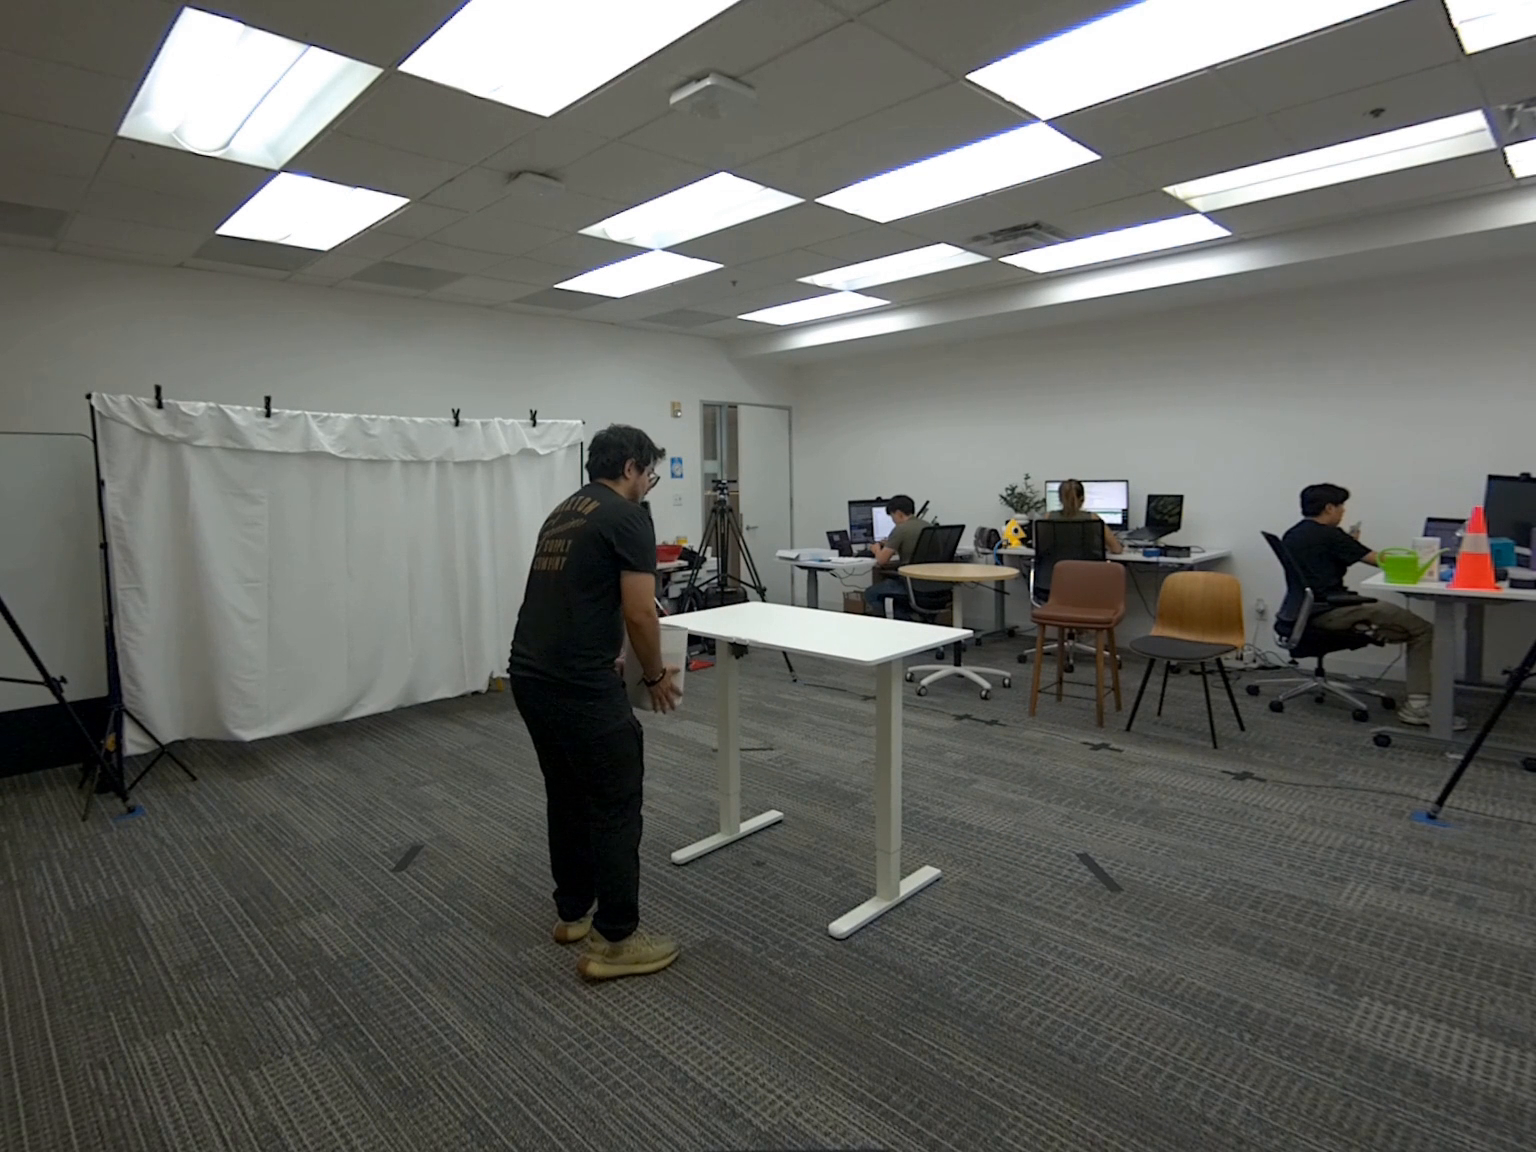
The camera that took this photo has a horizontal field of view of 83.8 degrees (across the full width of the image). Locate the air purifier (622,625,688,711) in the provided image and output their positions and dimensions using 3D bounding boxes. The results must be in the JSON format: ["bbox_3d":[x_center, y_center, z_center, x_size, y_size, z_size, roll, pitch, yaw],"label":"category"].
[{"bbox_3d":[-0.360,0.296,2.764,0.166,0.266,0.176,6,-2,-43],"label":"air purifier"}]
